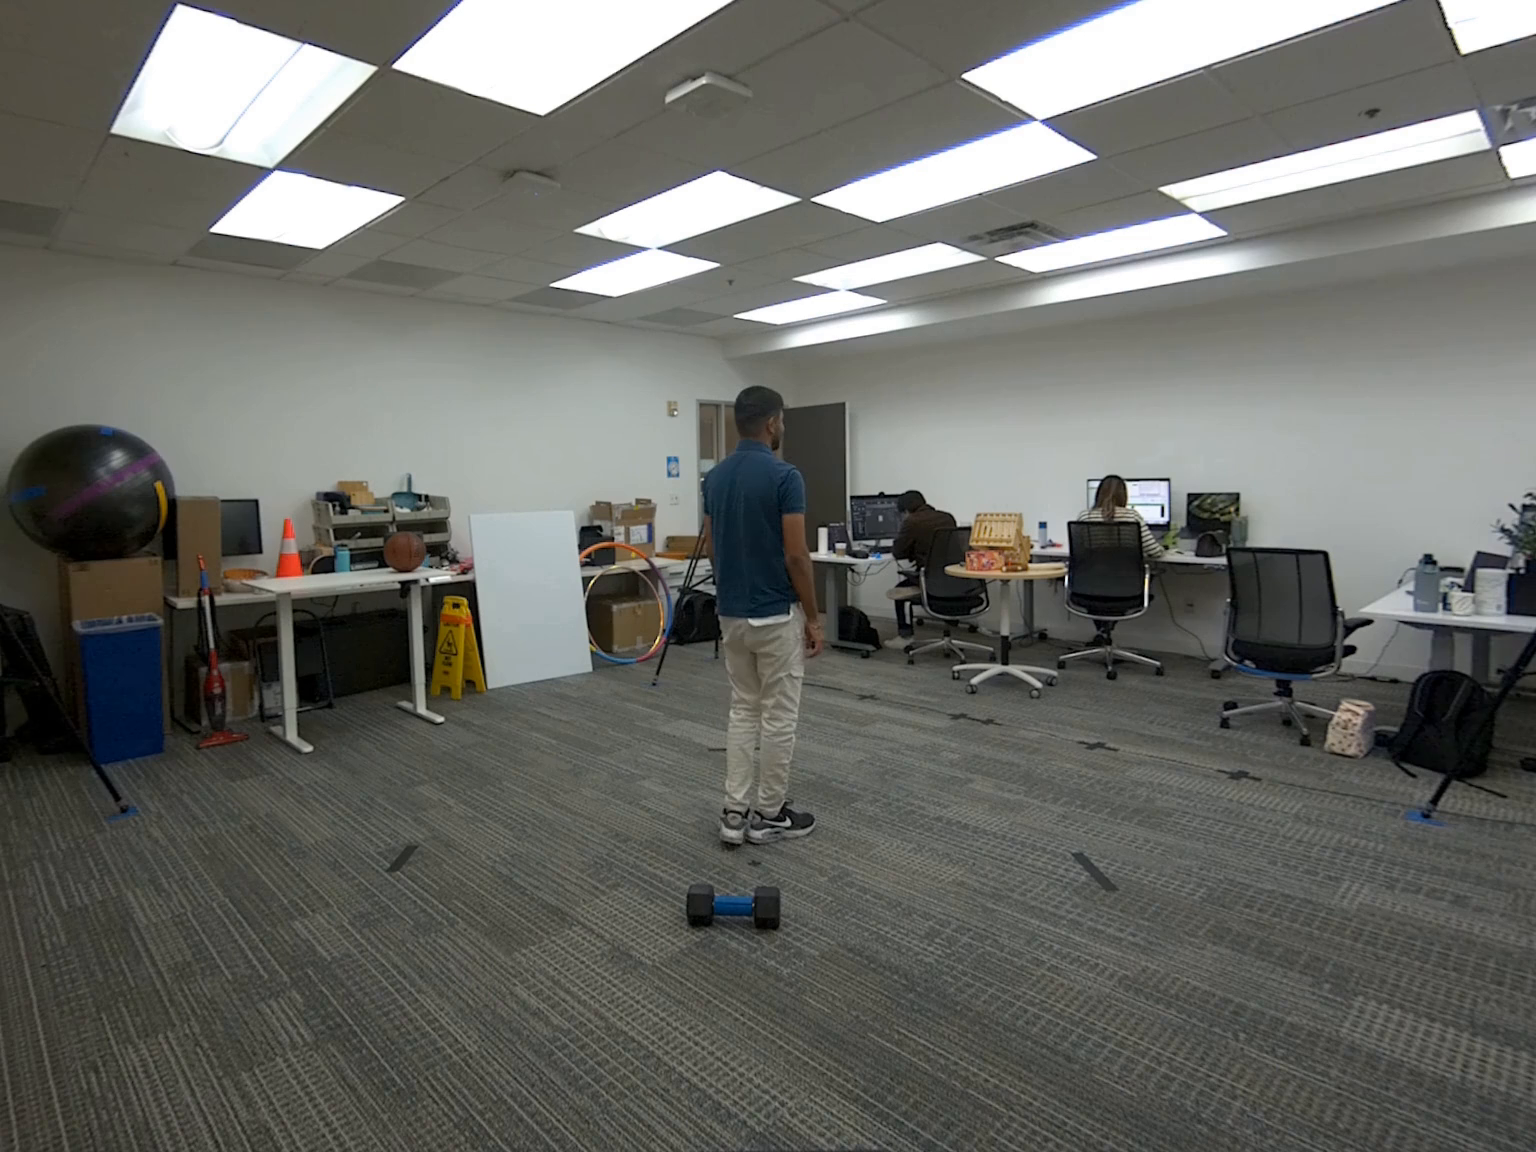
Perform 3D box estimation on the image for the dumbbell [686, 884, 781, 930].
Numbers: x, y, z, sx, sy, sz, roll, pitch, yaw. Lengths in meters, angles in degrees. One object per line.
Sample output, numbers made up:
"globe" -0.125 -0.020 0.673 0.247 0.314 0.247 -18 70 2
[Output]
"dumbbell" -0.106 1.042 2.692 0.295 0.119 0.111 0 36 6
